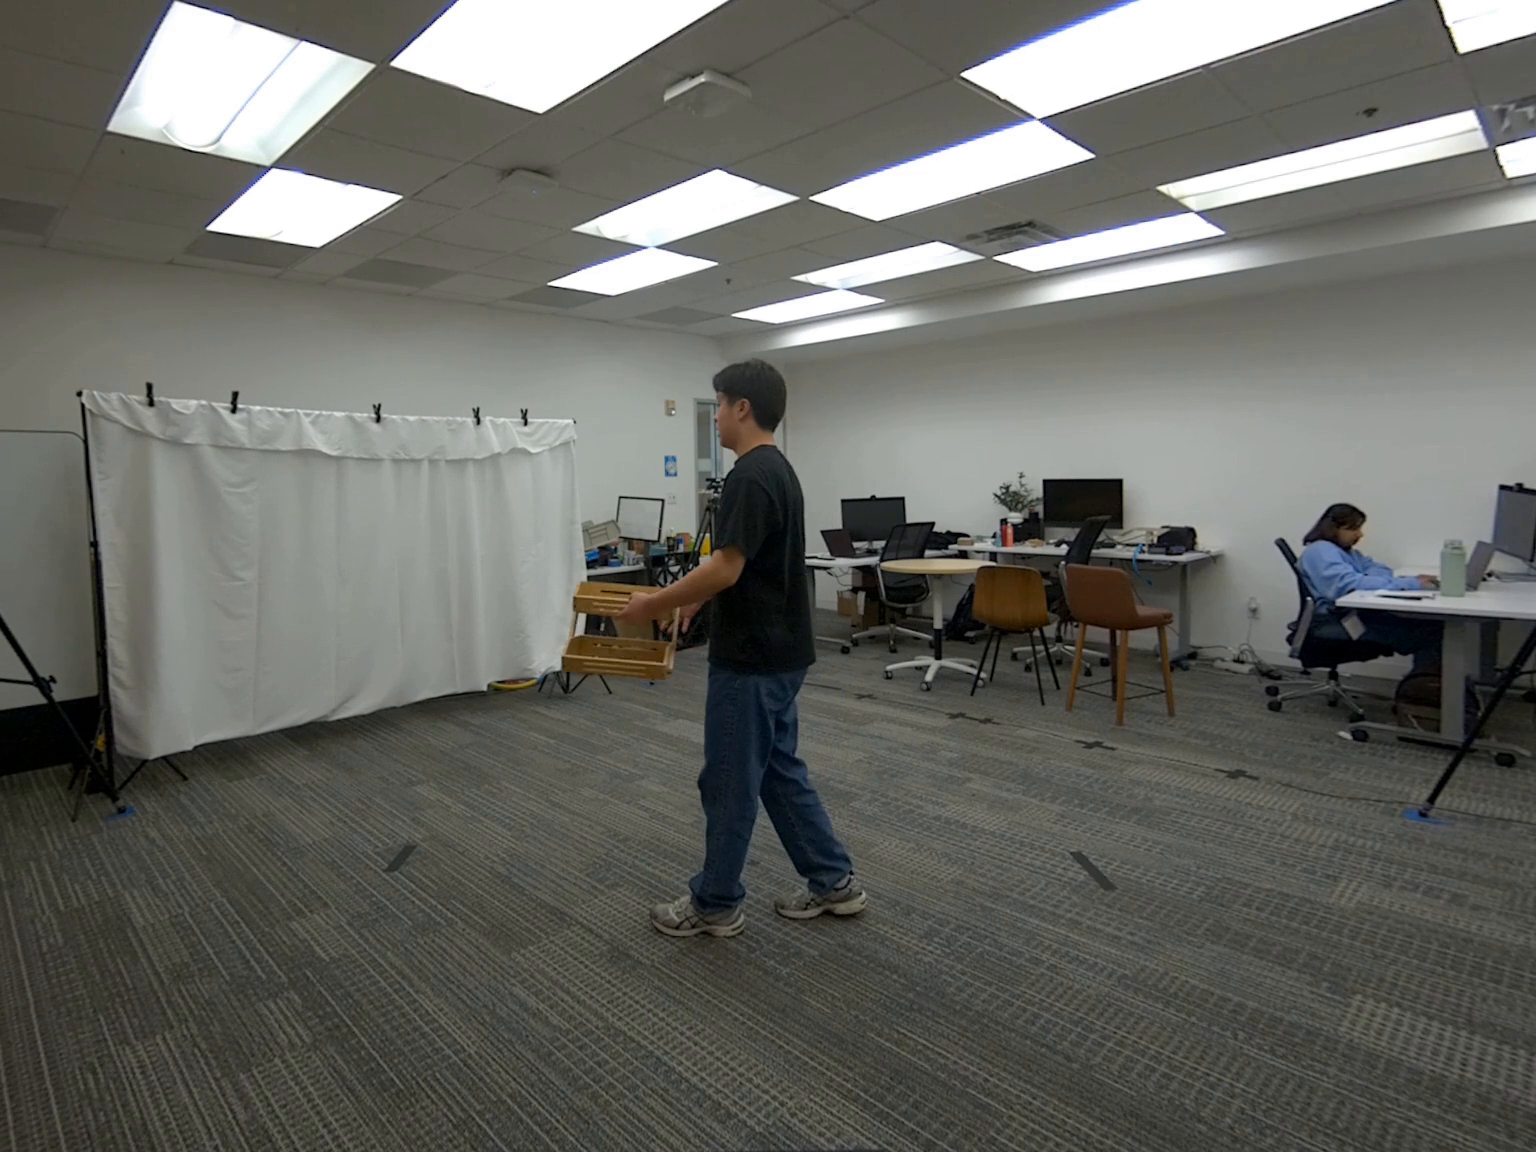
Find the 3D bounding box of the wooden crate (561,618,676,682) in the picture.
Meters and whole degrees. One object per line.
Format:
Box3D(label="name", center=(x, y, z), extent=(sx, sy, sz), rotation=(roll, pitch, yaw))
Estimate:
Box3D(label="wooden crate", center=(-0.434, 0.155, 2.566), extent=(0.325, 0.274, 0.300), rotation=(5, -4, 1))
